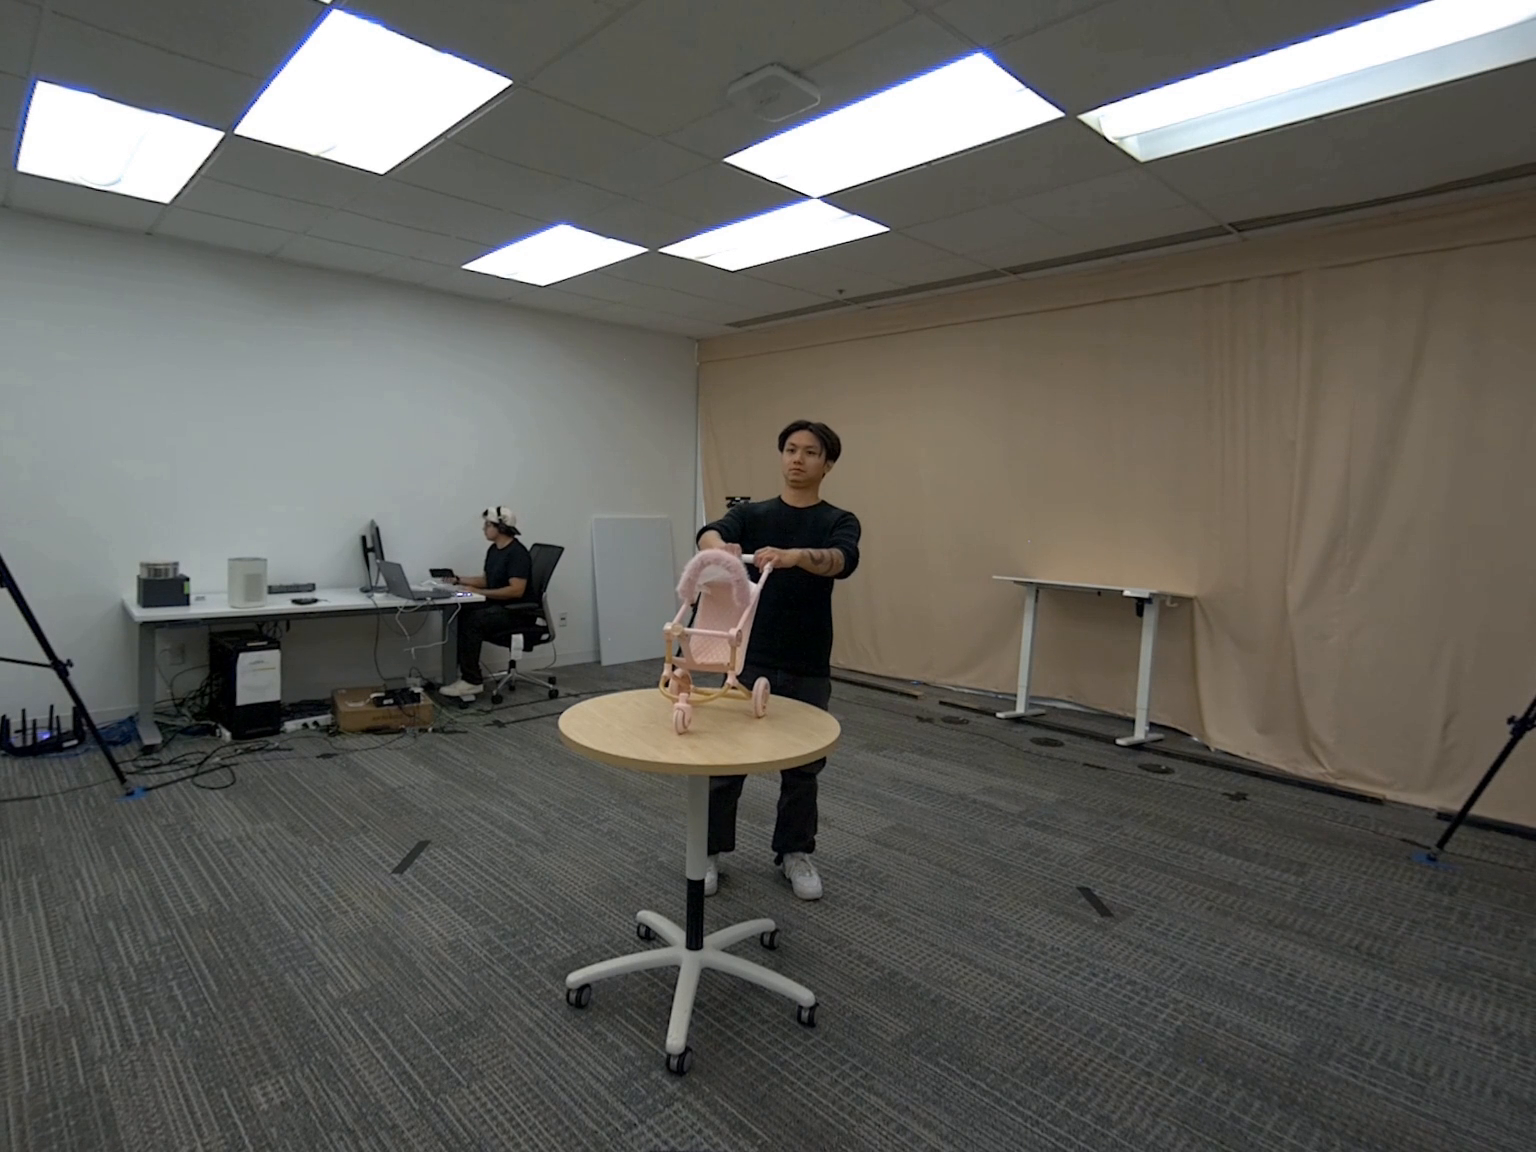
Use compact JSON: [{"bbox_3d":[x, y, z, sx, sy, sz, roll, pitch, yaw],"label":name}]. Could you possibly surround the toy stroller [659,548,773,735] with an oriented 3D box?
[{"bbox_3d":[-0.162,0.170,2.328,0.287,0.538,0.333,4,-10,25],"label":"toy stroller"}]
